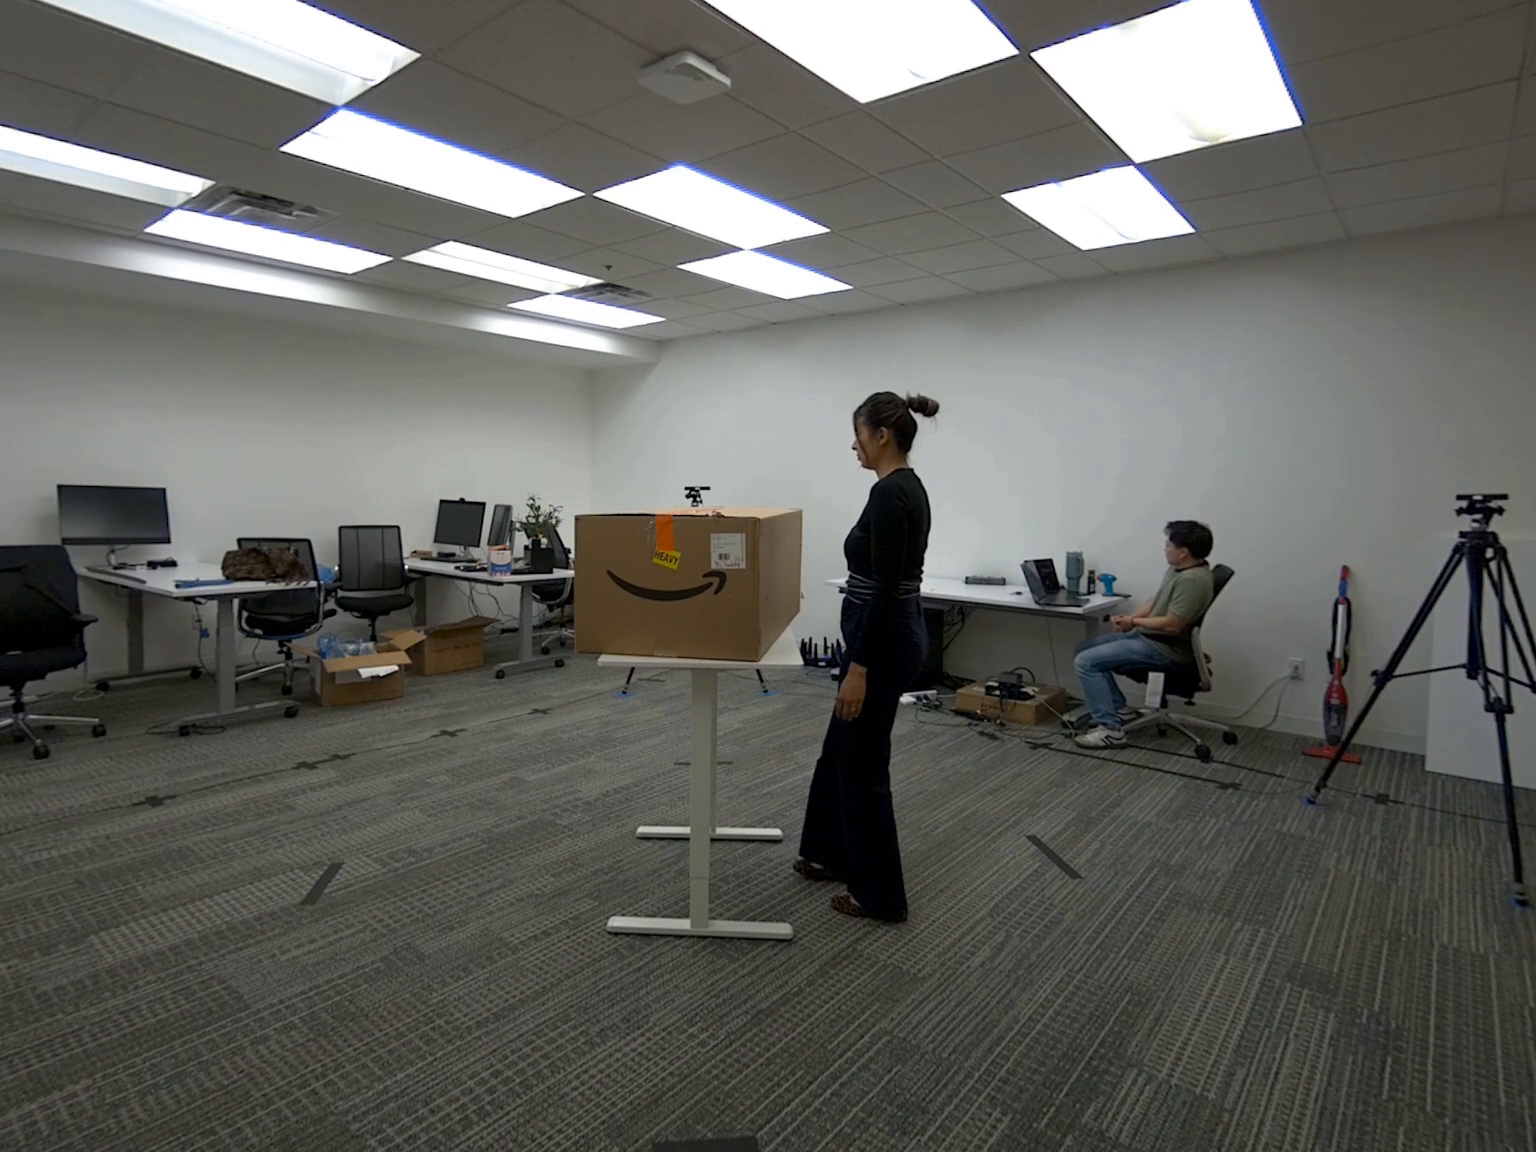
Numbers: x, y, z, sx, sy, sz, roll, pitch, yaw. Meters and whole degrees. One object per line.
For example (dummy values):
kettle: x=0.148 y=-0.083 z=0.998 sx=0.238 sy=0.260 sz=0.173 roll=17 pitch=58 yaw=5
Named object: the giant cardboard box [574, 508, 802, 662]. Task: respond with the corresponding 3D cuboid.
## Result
giant cardboard box: x=-0.237 y=-0.024 z=3.027 sx=0.585 sy=0.424 sz=1.017 roll=1 pitch=6 yaw=11
